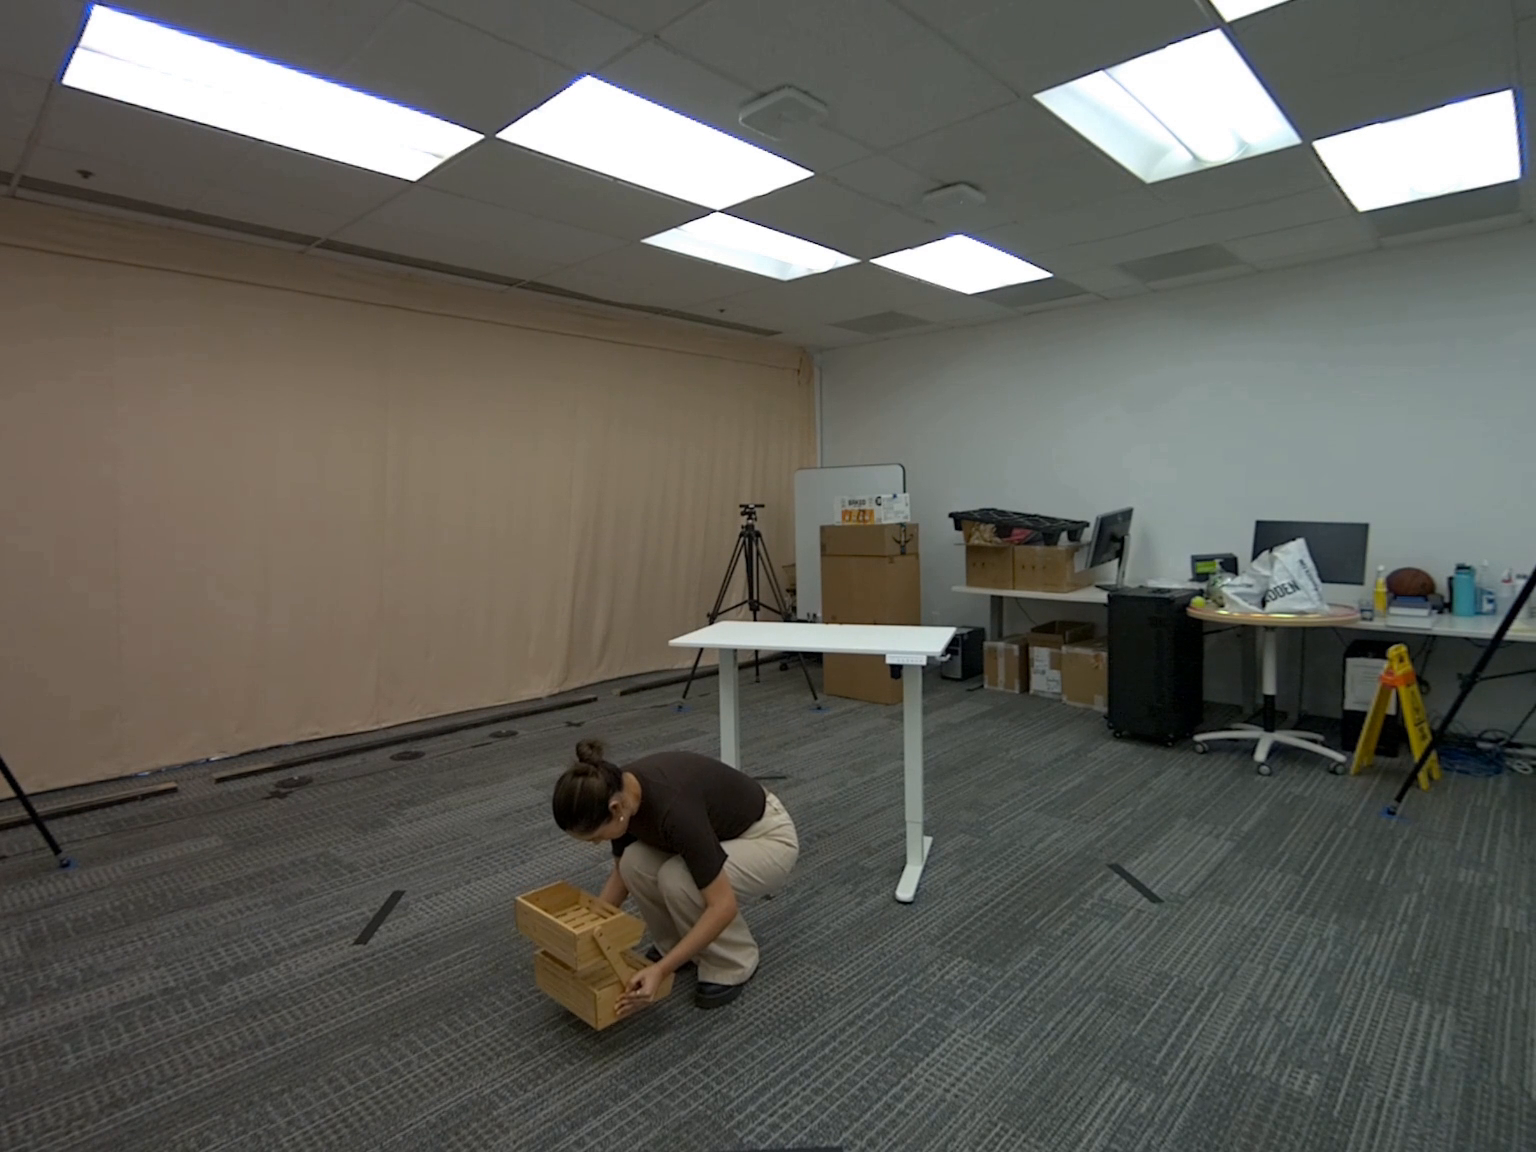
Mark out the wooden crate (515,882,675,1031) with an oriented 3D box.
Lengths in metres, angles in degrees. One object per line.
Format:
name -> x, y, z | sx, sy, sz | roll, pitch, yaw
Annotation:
wooden crate -> -0.460, 0.981, 2.246 | 0.293, 0.273, 0.335 | -4, 2, -44
